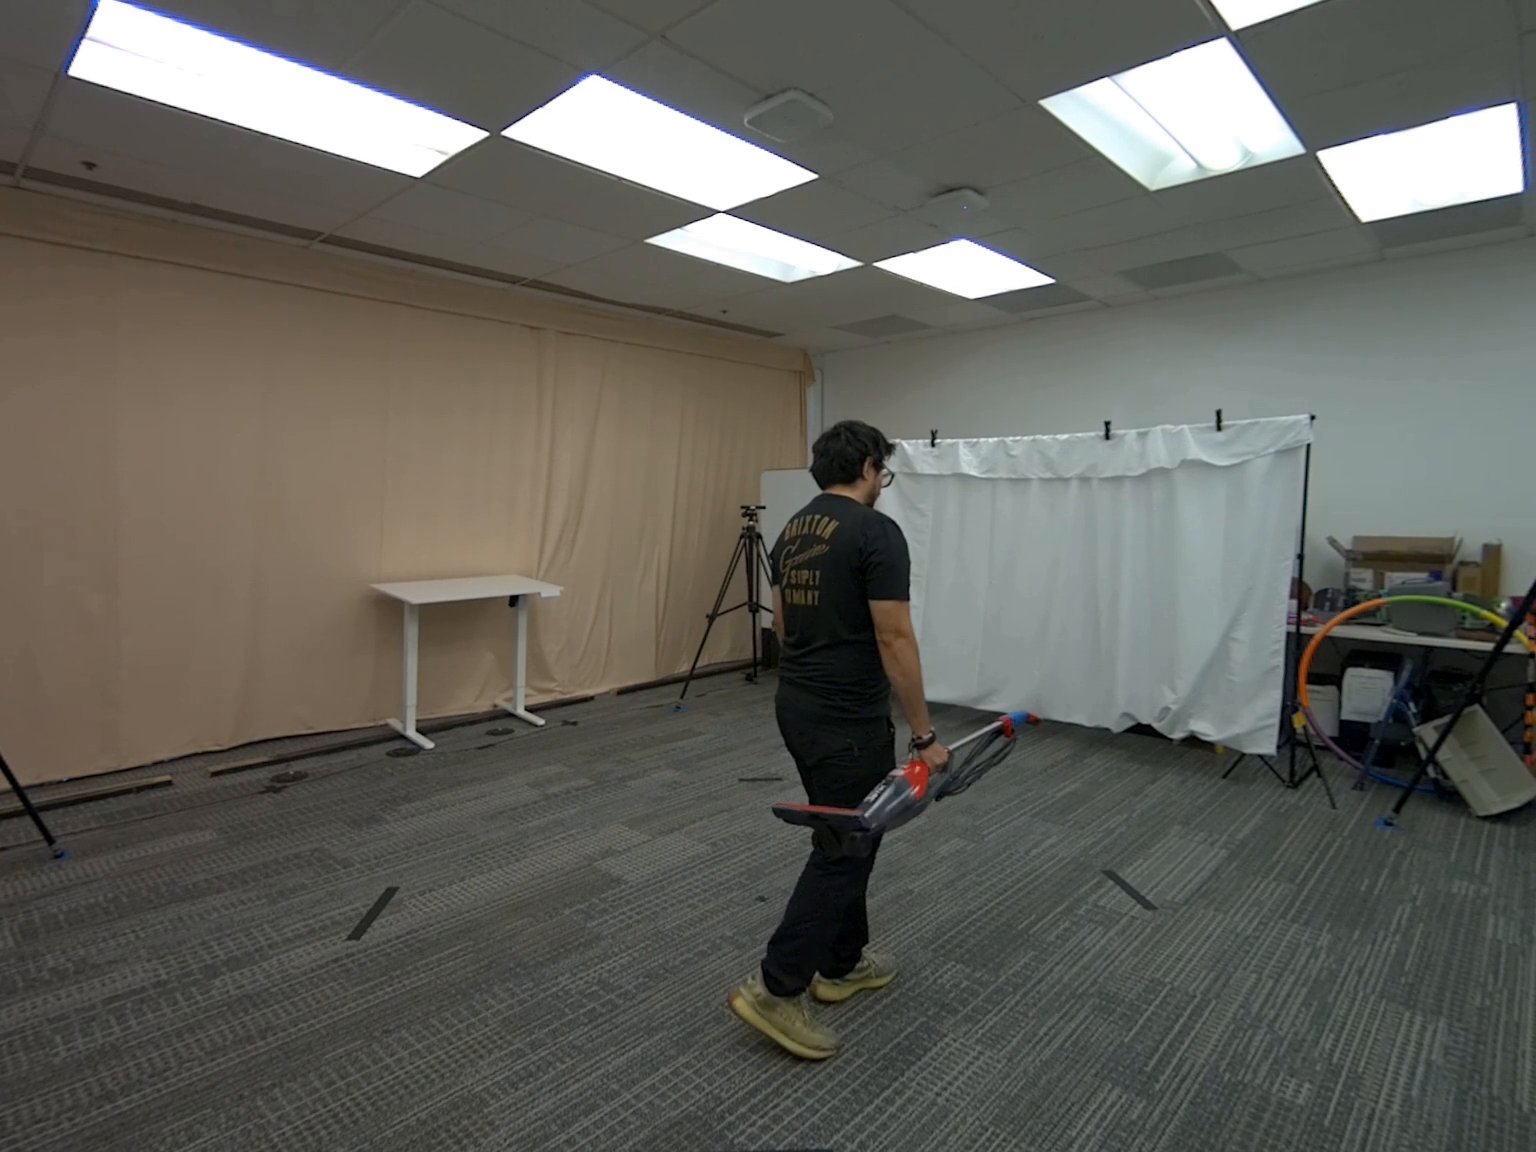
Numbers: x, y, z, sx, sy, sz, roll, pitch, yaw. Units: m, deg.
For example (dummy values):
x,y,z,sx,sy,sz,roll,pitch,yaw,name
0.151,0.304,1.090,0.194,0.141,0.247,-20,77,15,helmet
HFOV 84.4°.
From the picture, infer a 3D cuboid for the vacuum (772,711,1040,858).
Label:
x,y,z,sx,sy,sz,roll,pitch,yaw,name
0.483,0.513,2.205,1.019,0.144,0.259,-10,-1,-45,vacuum
